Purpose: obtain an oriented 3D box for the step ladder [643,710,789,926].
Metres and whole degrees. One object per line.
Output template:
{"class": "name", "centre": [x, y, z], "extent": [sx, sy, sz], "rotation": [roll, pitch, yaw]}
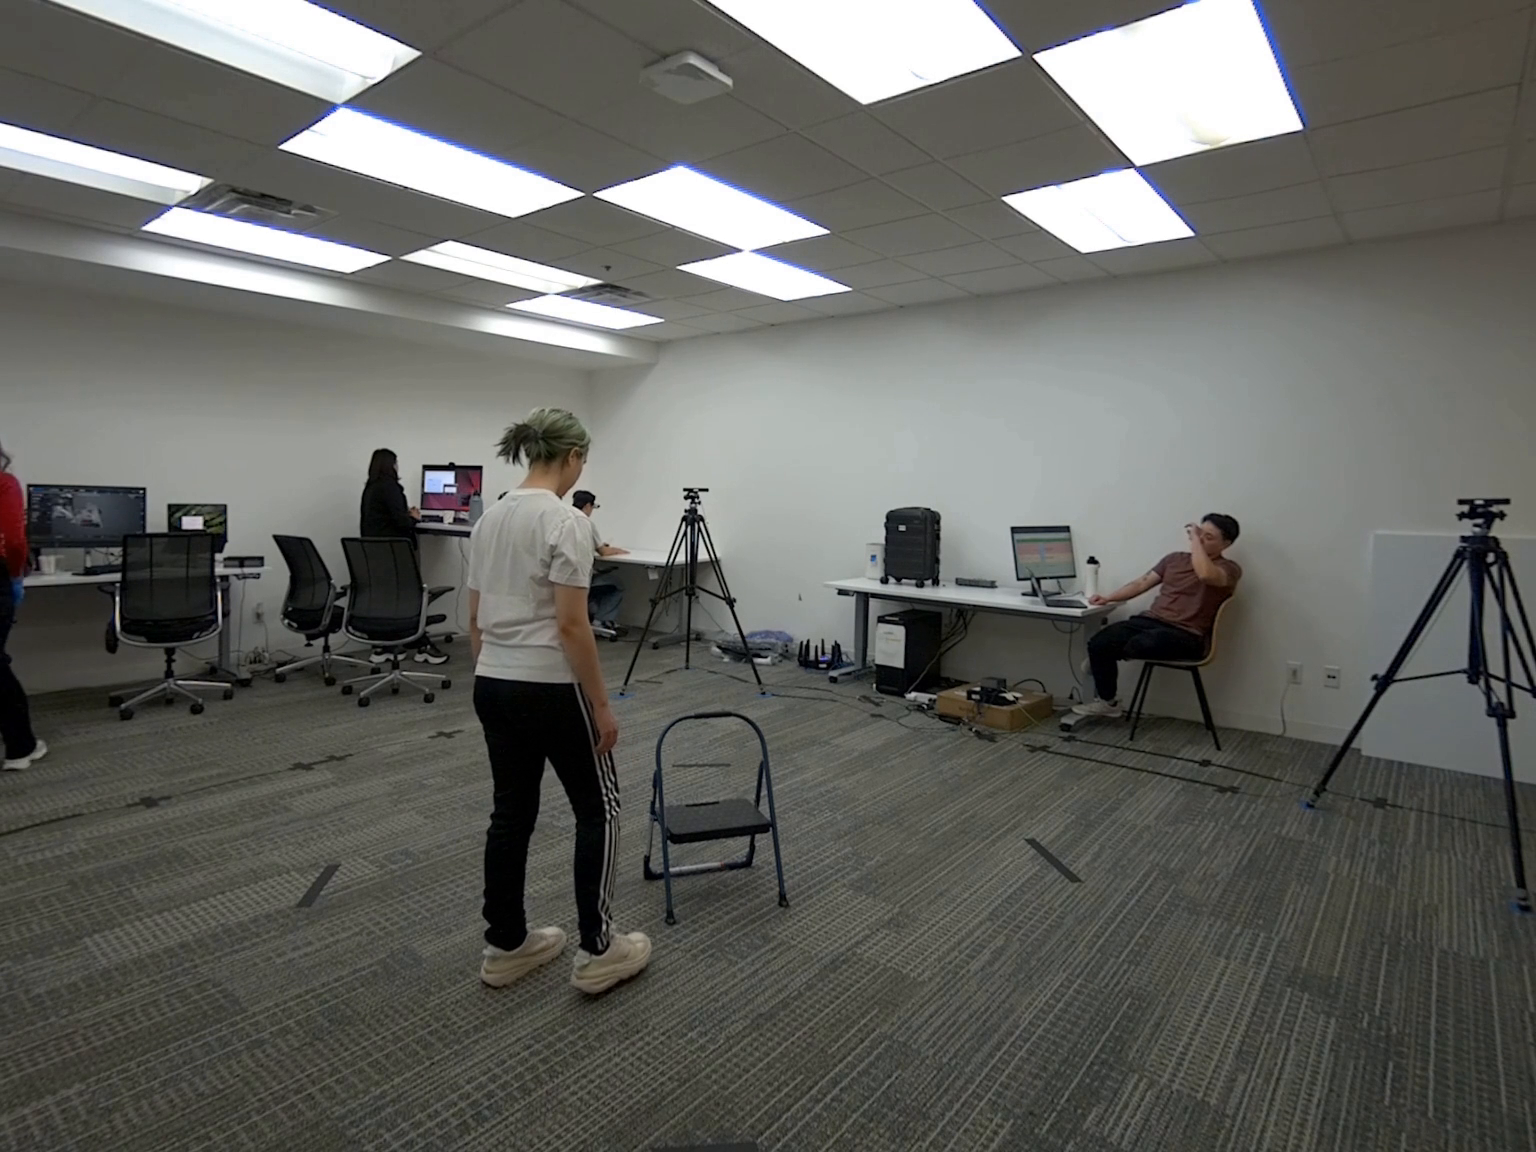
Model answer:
{"class": "step ladder", "centre": [-0.192, 0.786, 2.923], "extent": [0.422, 0.604, 0.358], "rotation": [0, 3, -21]}
